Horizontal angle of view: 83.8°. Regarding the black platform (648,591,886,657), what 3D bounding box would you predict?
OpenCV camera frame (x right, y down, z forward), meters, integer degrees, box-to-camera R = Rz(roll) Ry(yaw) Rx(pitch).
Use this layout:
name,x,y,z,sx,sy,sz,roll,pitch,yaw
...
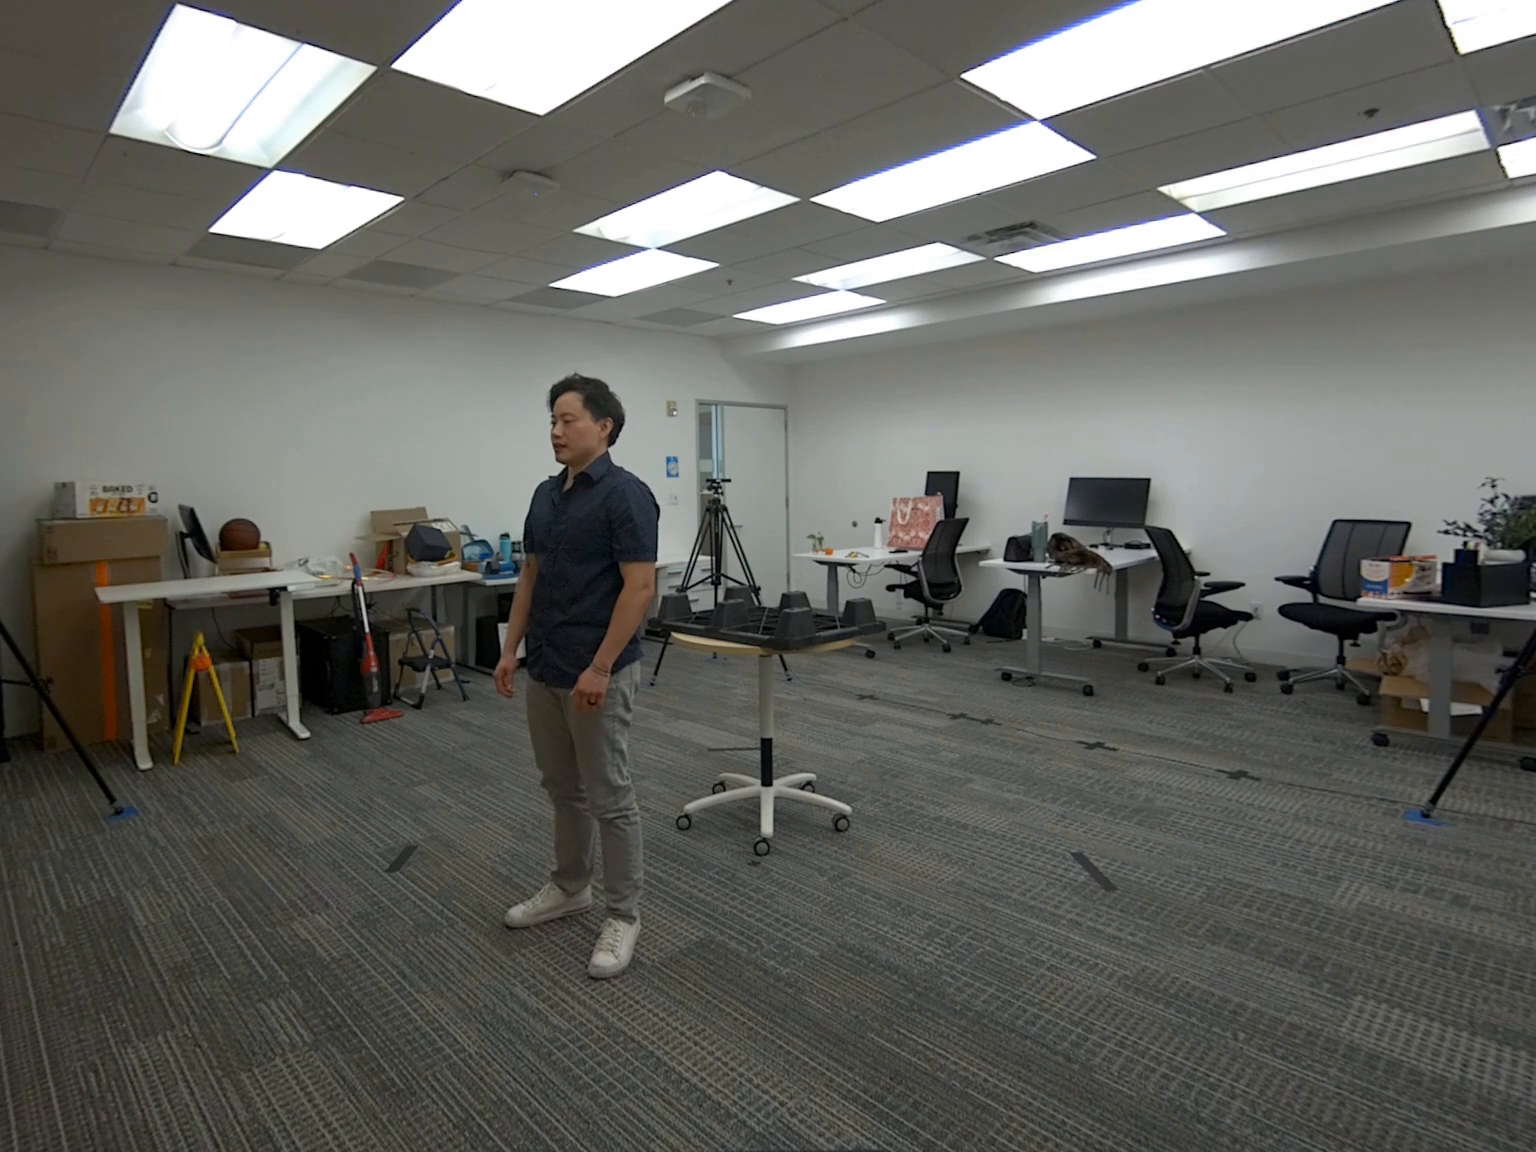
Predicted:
name,x,y,z,sx,sy,sz,roll,pitch,yaw
black platform,-0.009,0.154,3.483,0.831,0.143,0.589,5,9,45
